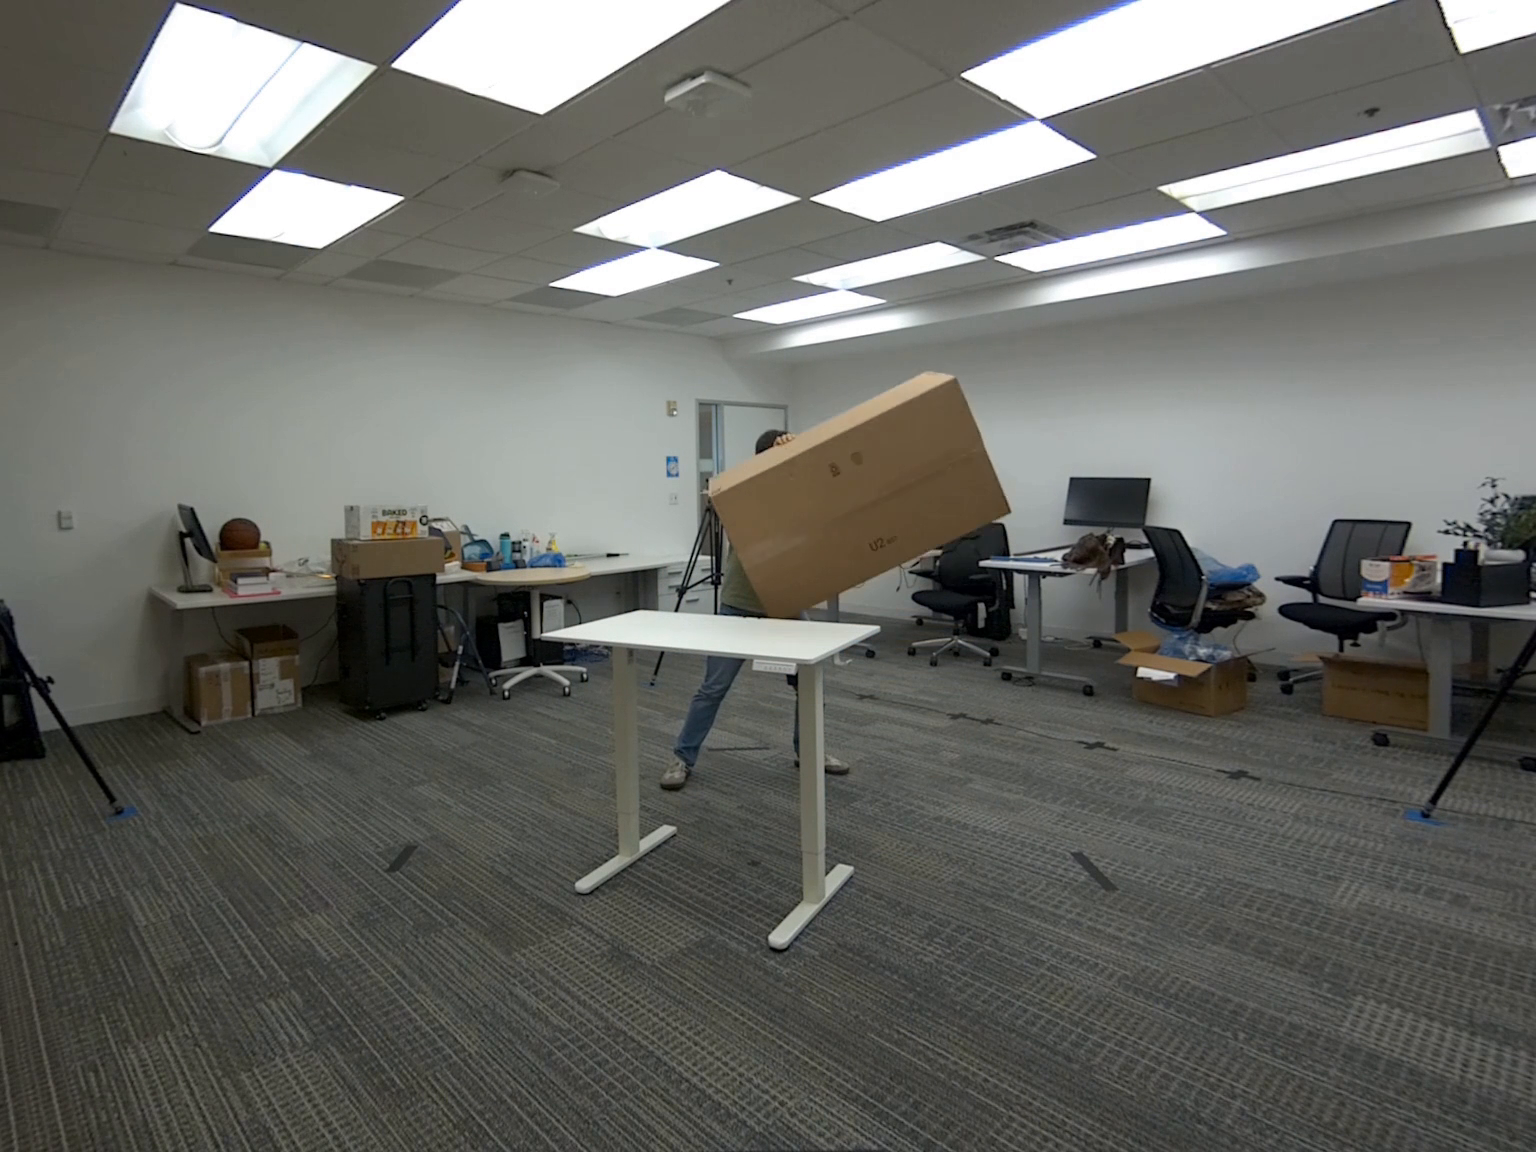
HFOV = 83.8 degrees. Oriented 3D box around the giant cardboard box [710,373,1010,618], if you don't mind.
[{"bbox_3d":[0.344,-0.327,3.450,1.028,0.568,0.432,-26,13,4],"label":"giant cardboard box"}]
